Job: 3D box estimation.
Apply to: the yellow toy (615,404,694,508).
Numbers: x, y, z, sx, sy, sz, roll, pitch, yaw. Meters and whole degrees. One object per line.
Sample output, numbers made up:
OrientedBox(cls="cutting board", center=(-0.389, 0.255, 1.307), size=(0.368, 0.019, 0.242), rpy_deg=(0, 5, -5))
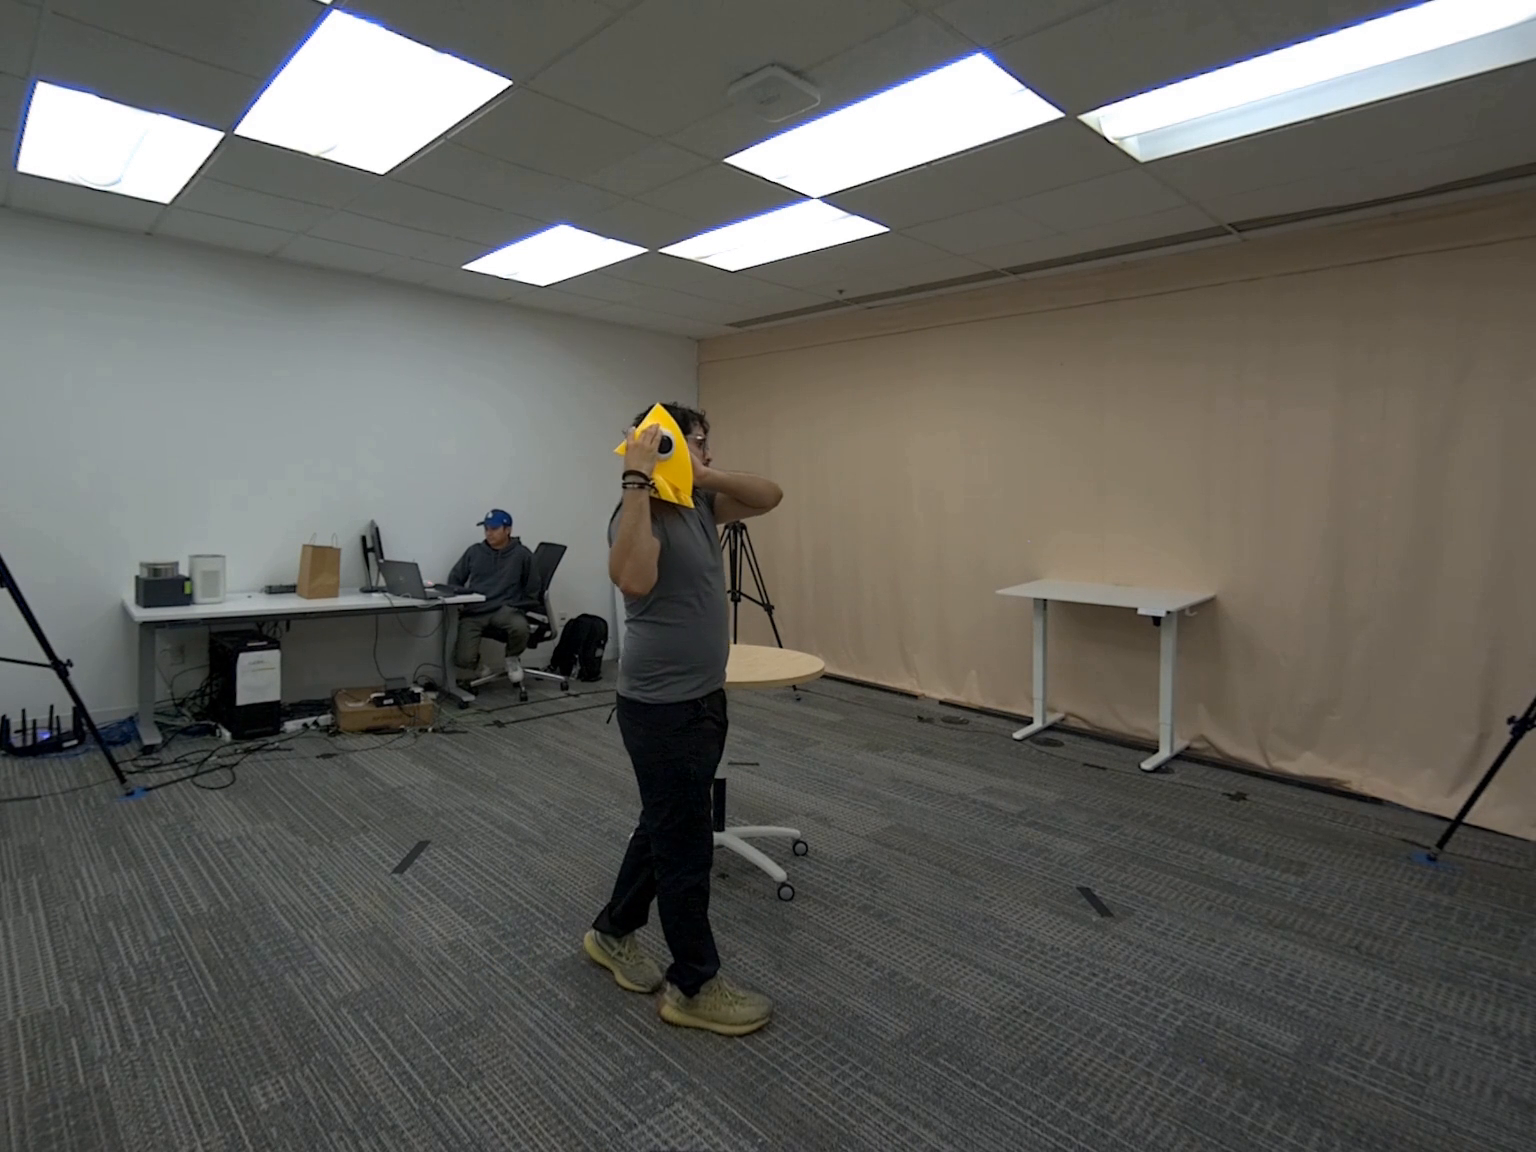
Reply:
OrientedBox(cls="yellow toy", center=(-0.272, -0.310, 2.115), size=(0.196, 0.230, 0.202), rpy_deg=(16, 2, 15))
